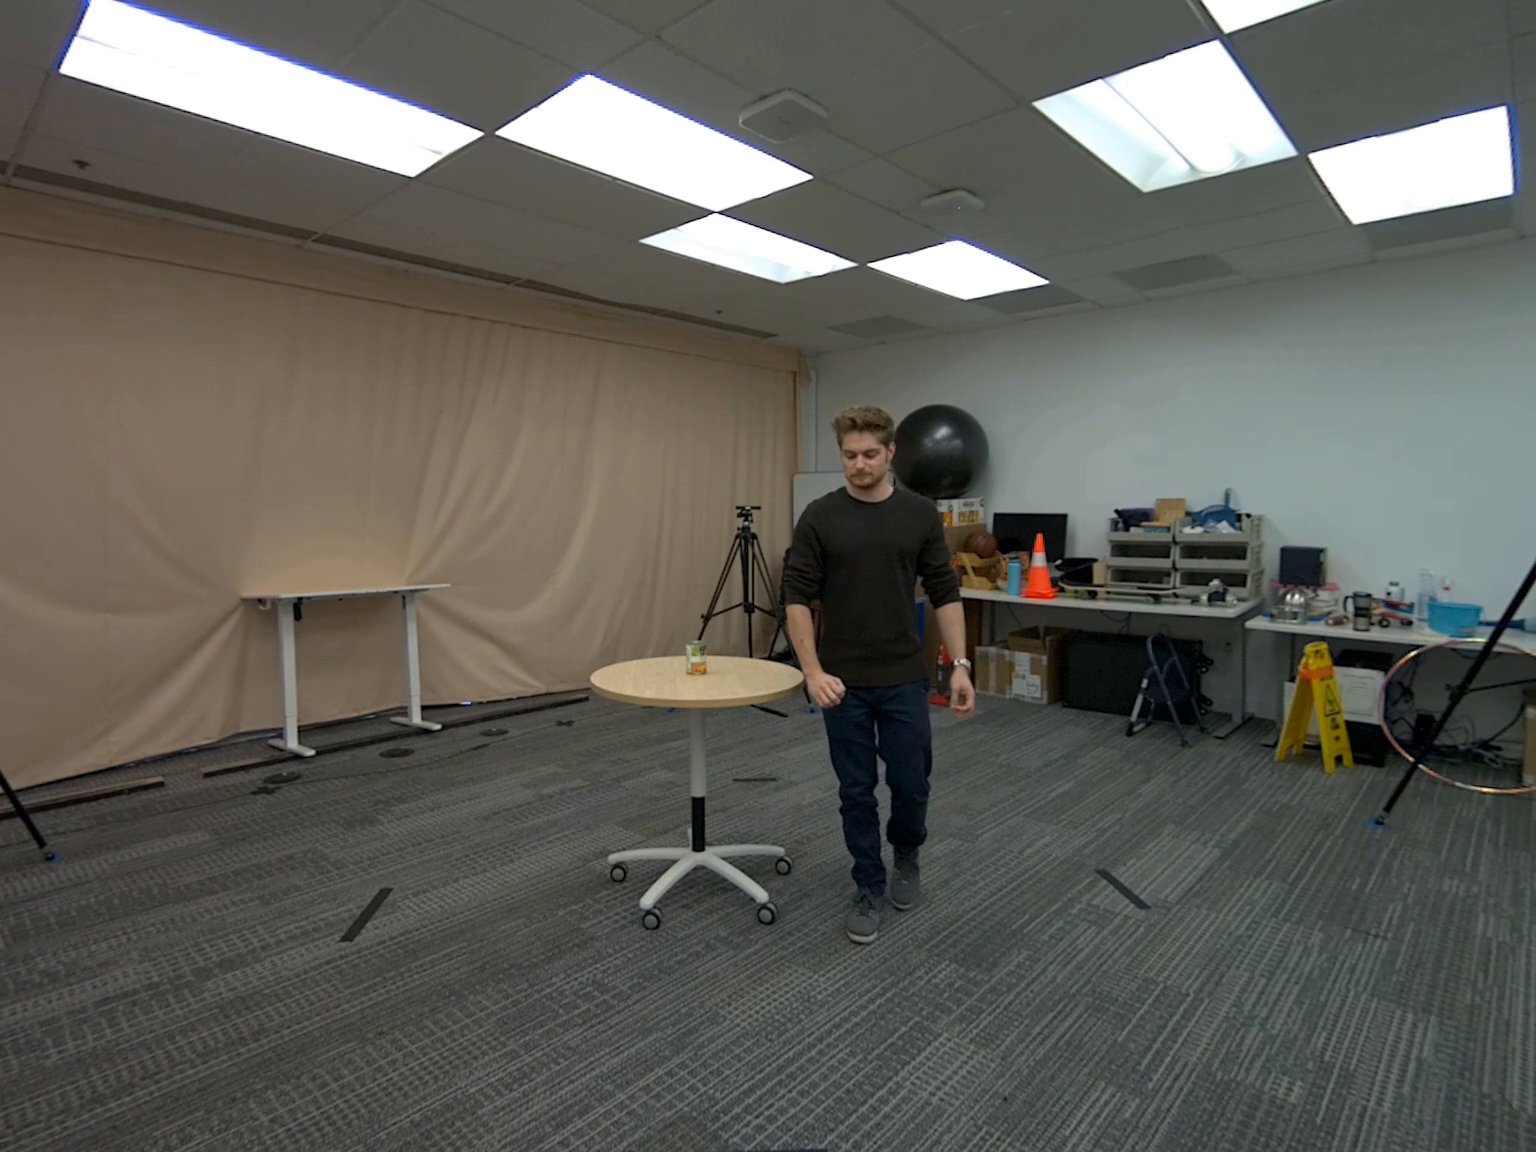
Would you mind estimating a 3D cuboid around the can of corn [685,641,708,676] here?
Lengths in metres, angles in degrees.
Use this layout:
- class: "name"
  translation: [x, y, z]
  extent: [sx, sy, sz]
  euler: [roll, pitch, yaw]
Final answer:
- class: "can of corn"
  translation: [-0.259, 0.302, 3.070]
  extent: [0.074, 0.111, 0.074]
  euler: [-2, 3, -2]
